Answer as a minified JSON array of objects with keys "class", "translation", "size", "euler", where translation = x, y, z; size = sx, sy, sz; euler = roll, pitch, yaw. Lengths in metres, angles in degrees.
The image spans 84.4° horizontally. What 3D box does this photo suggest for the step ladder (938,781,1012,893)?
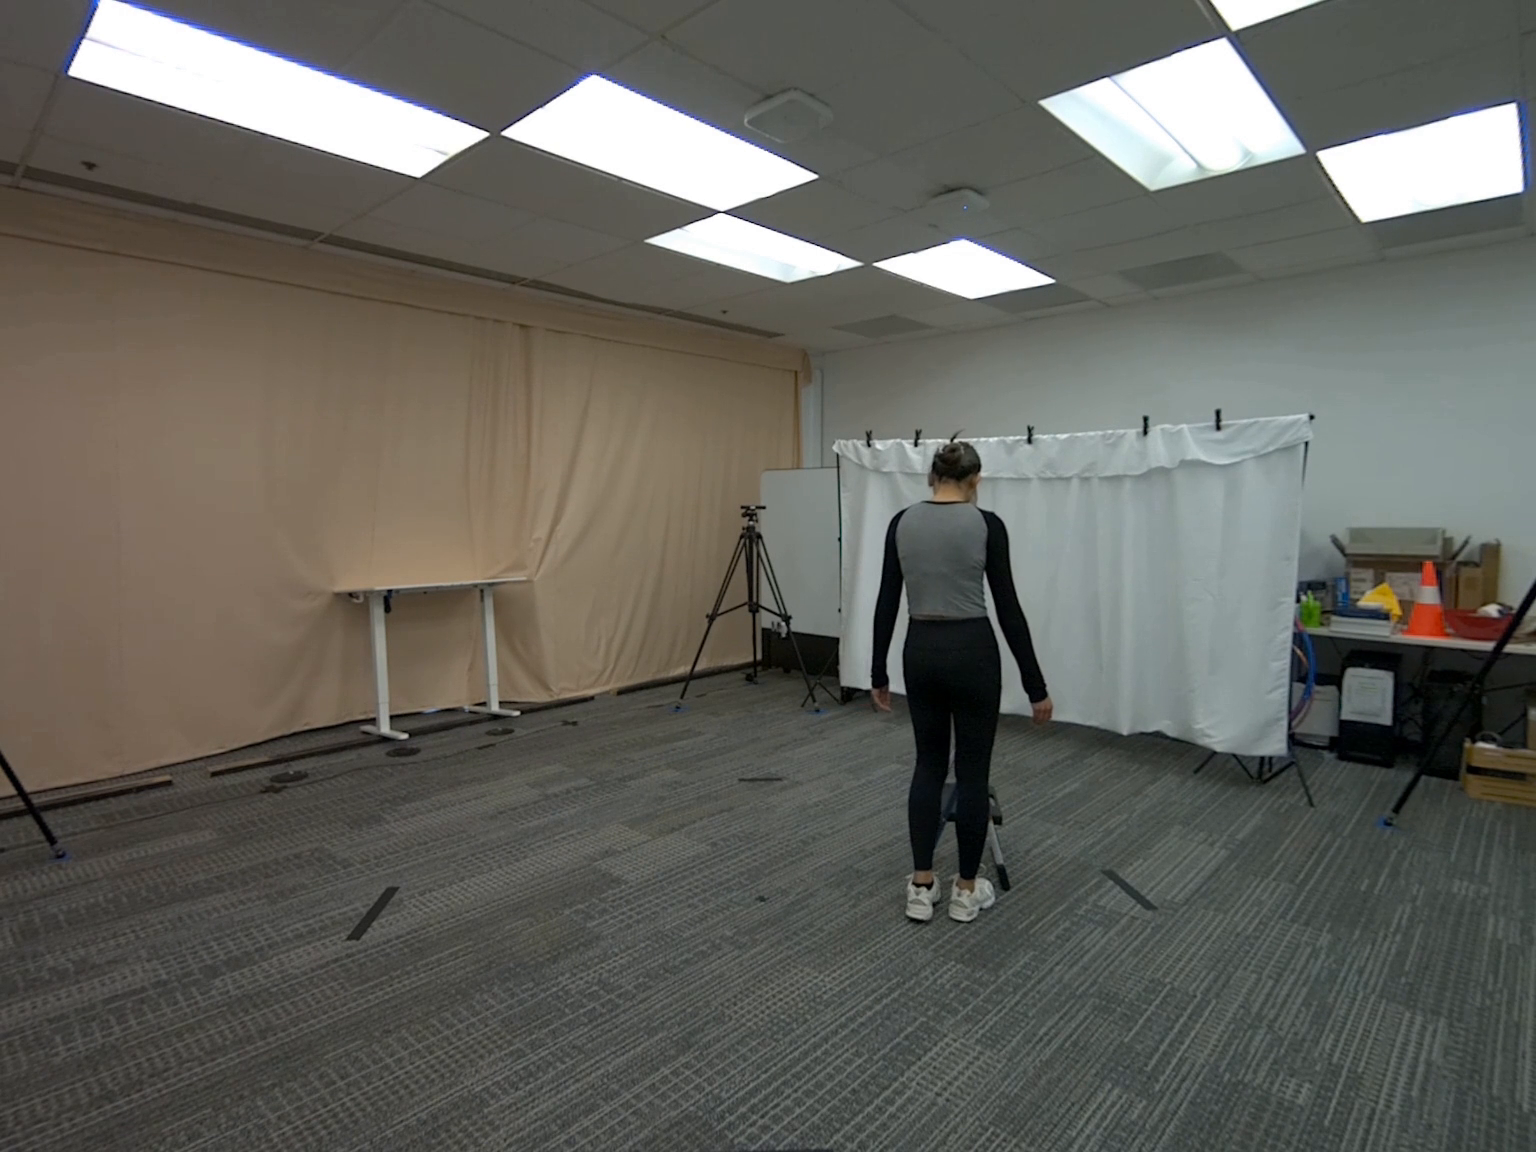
[{"class":"step ladder","translation":[0.746,0.820,3.265],"size":[0.354,0.605,0.426],"euler":[0,3,10]}]
